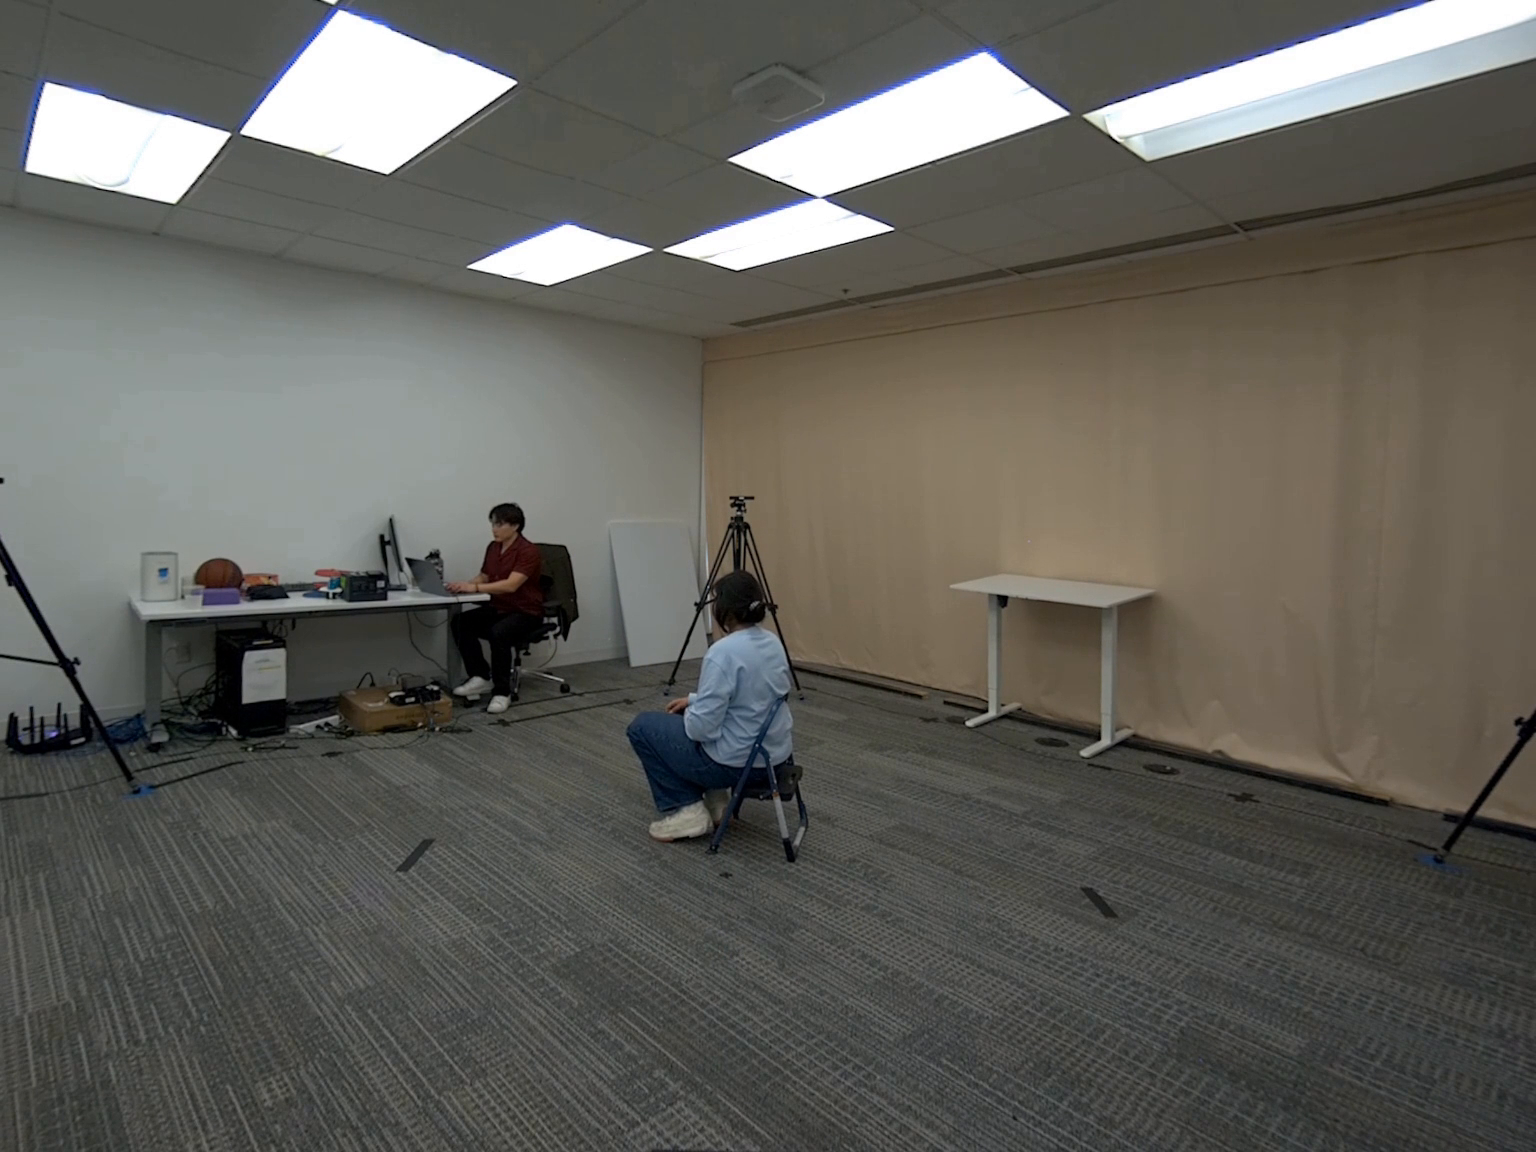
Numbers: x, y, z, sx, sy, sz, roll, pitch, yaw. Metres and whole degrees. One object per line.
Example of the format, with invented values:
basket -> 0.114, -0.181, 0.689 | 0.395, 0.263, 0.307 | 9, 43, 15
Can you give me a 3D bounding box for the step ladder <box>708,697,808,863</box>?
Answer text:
step ladder -> -0.027, 0.785, 3.438 | 0.352, 0.604, 0.428 | 1, 5, 10
